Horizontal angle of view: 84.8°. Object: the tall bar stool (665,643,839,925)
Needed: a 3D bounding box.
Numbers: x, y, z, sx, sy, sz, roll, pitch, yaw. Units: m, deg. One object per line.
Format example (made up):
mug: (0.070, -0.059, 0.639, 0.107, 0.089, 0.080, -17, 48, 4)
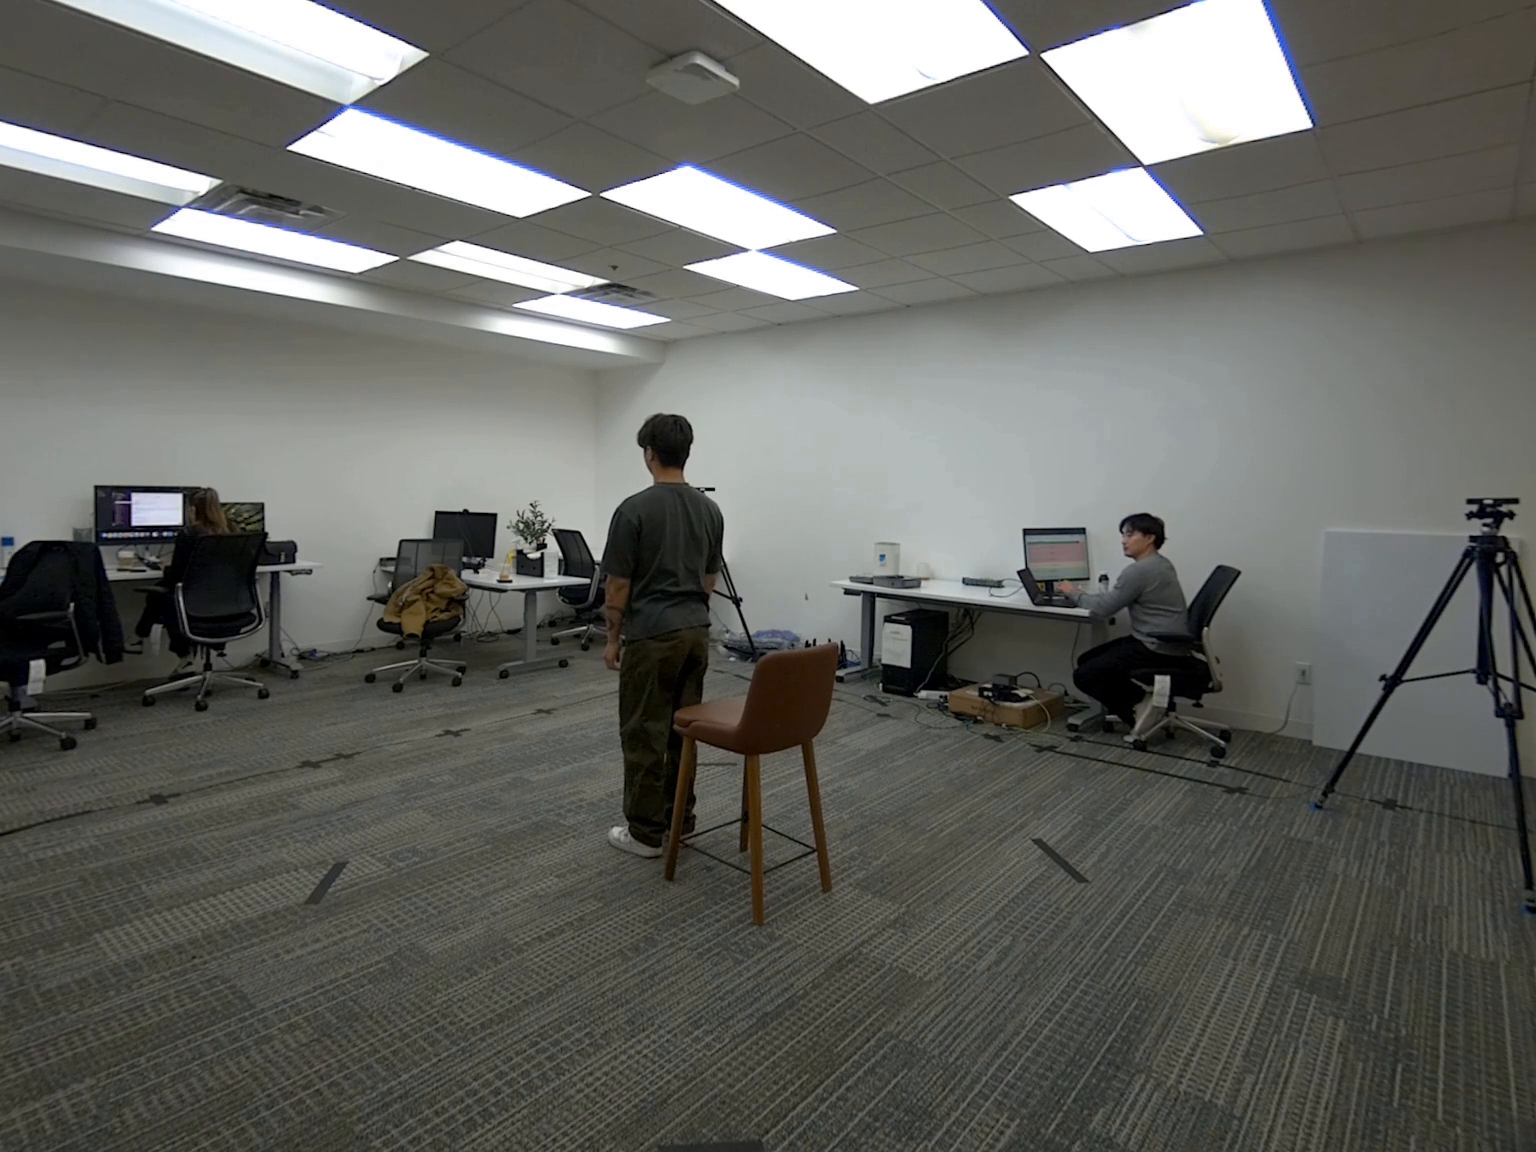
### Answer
tall bar stool: (-0.058, 0.646, 2.962, 0.484, 0.886, 0.442, 8, 6, 44)
